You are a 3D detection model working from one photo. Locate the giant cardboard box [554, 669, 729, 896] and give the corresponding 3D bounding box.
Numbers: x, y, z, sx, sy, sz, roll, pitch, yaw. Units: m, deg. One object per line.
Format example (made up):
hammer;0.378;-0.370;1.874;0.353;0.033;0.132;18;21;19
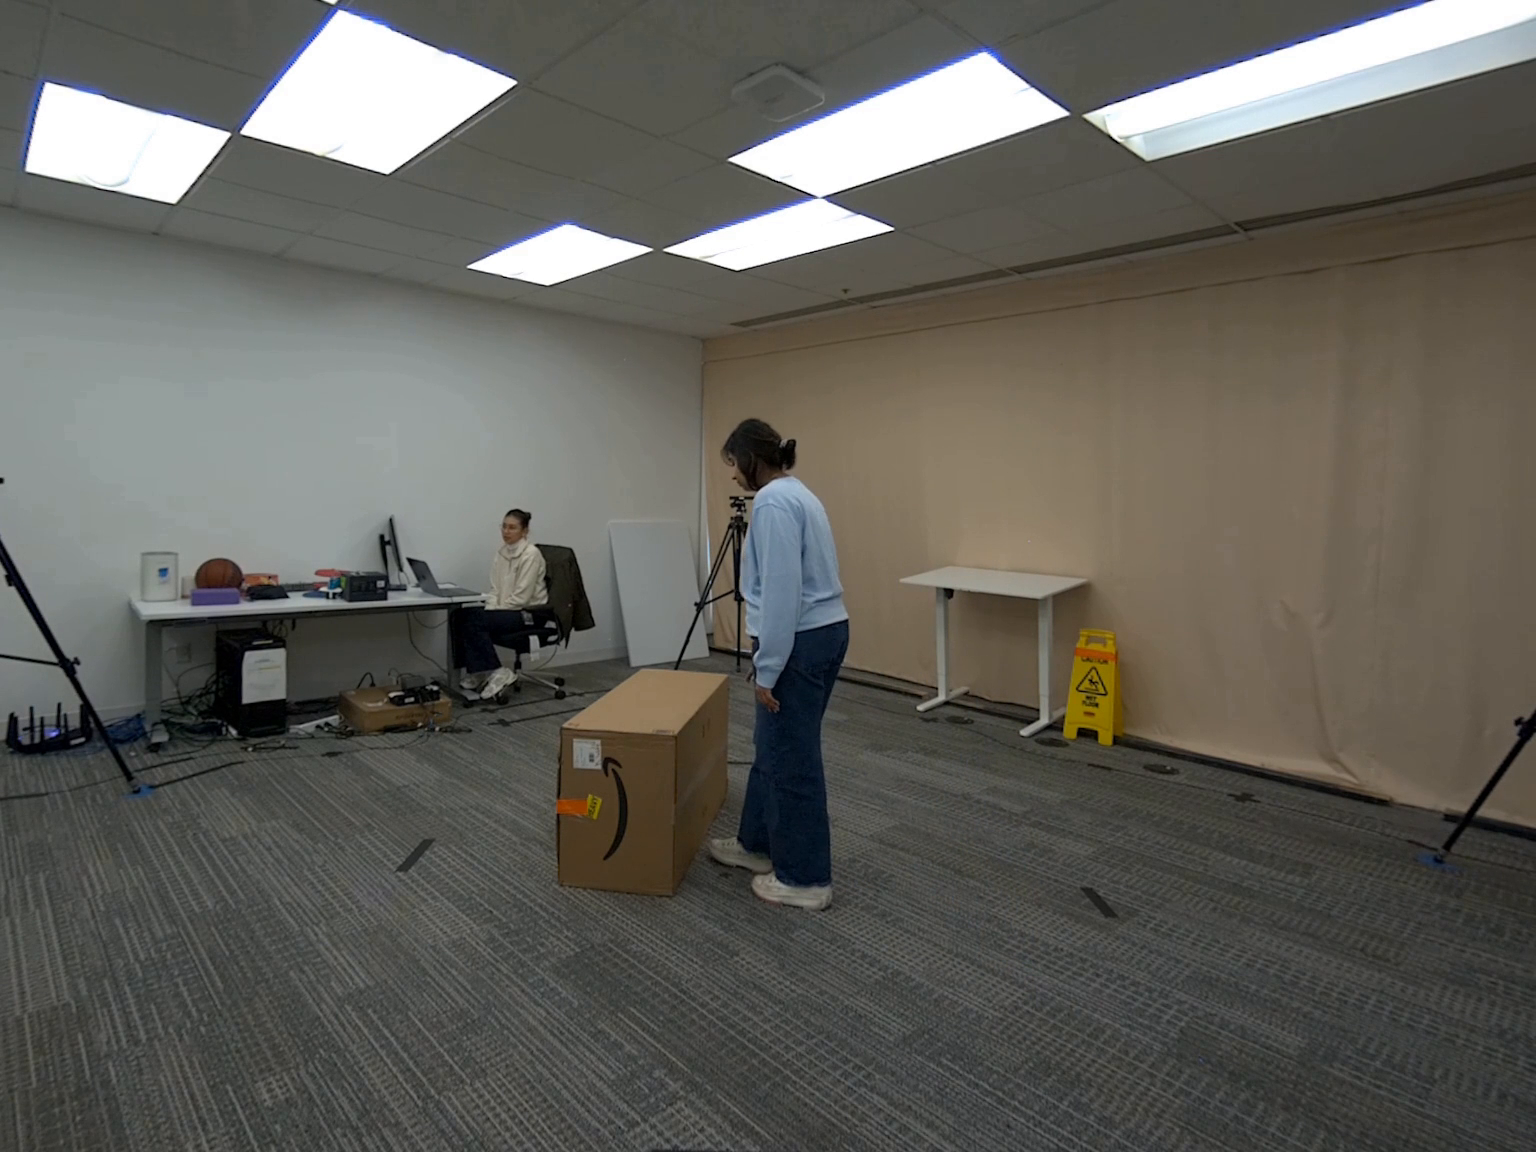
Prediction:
giant cardboard box;-0.473;0.773;3.450;0.429;0.575;1.021;1;5;8
